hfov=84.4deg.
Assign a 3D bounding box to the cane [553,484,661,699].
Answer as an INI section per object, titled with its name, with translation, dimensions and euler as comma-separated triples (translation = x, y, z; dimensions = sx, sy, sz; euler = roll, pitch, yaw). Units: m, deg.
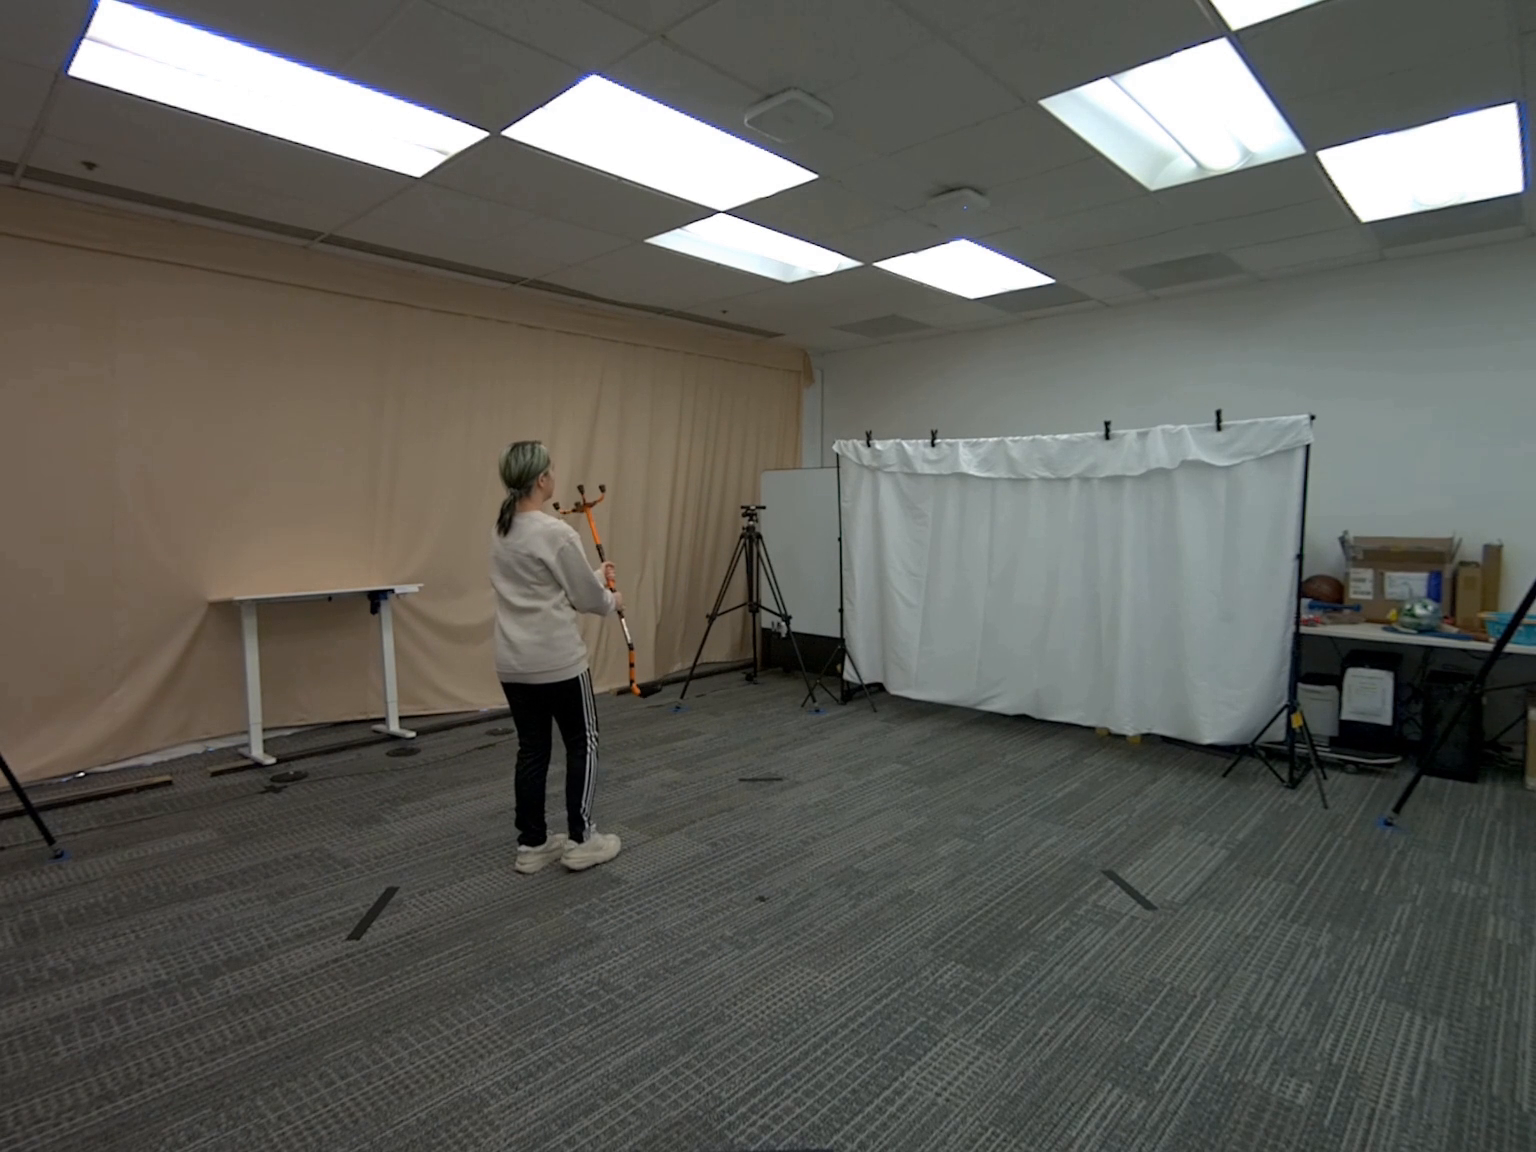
[cane]
translation = -0.661, 0.068, 3.526
dimensions = 0.210, 0.919, 0.147
euler = -30, -15, 36
